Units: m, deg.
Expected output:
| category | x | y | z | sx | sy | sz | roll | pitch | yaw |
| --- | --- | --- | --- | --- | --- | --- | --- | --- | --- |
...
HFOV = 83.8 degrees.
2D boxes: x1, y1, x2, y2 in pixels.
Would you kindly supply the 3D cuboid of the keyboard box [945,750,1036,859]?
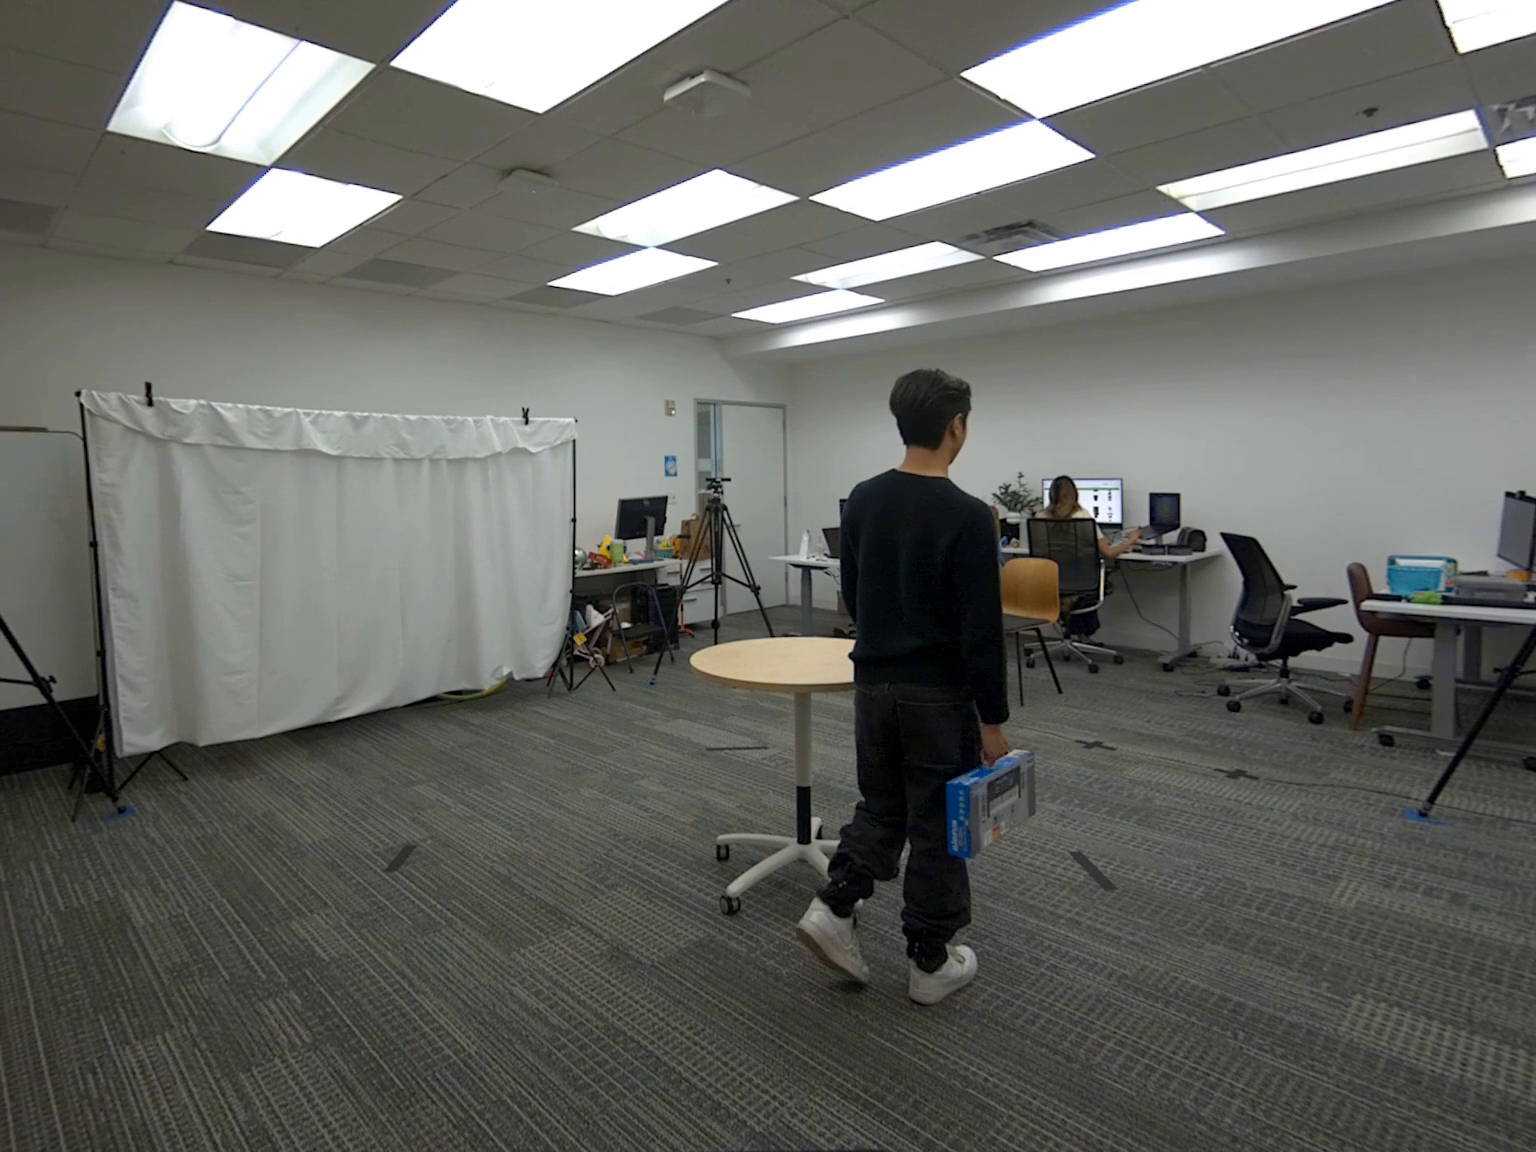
| category | x | y | z | sx | sy | sz | roll | pitch | yaw |
| --- | --- | --- | --- | --- | --- | --- | --- | --- | --- |
| keyboard box | 0.579 | 0.574 | 2.196 | 0.061 | 0.176 | 0.425 | -1 | 1 | 36 |
